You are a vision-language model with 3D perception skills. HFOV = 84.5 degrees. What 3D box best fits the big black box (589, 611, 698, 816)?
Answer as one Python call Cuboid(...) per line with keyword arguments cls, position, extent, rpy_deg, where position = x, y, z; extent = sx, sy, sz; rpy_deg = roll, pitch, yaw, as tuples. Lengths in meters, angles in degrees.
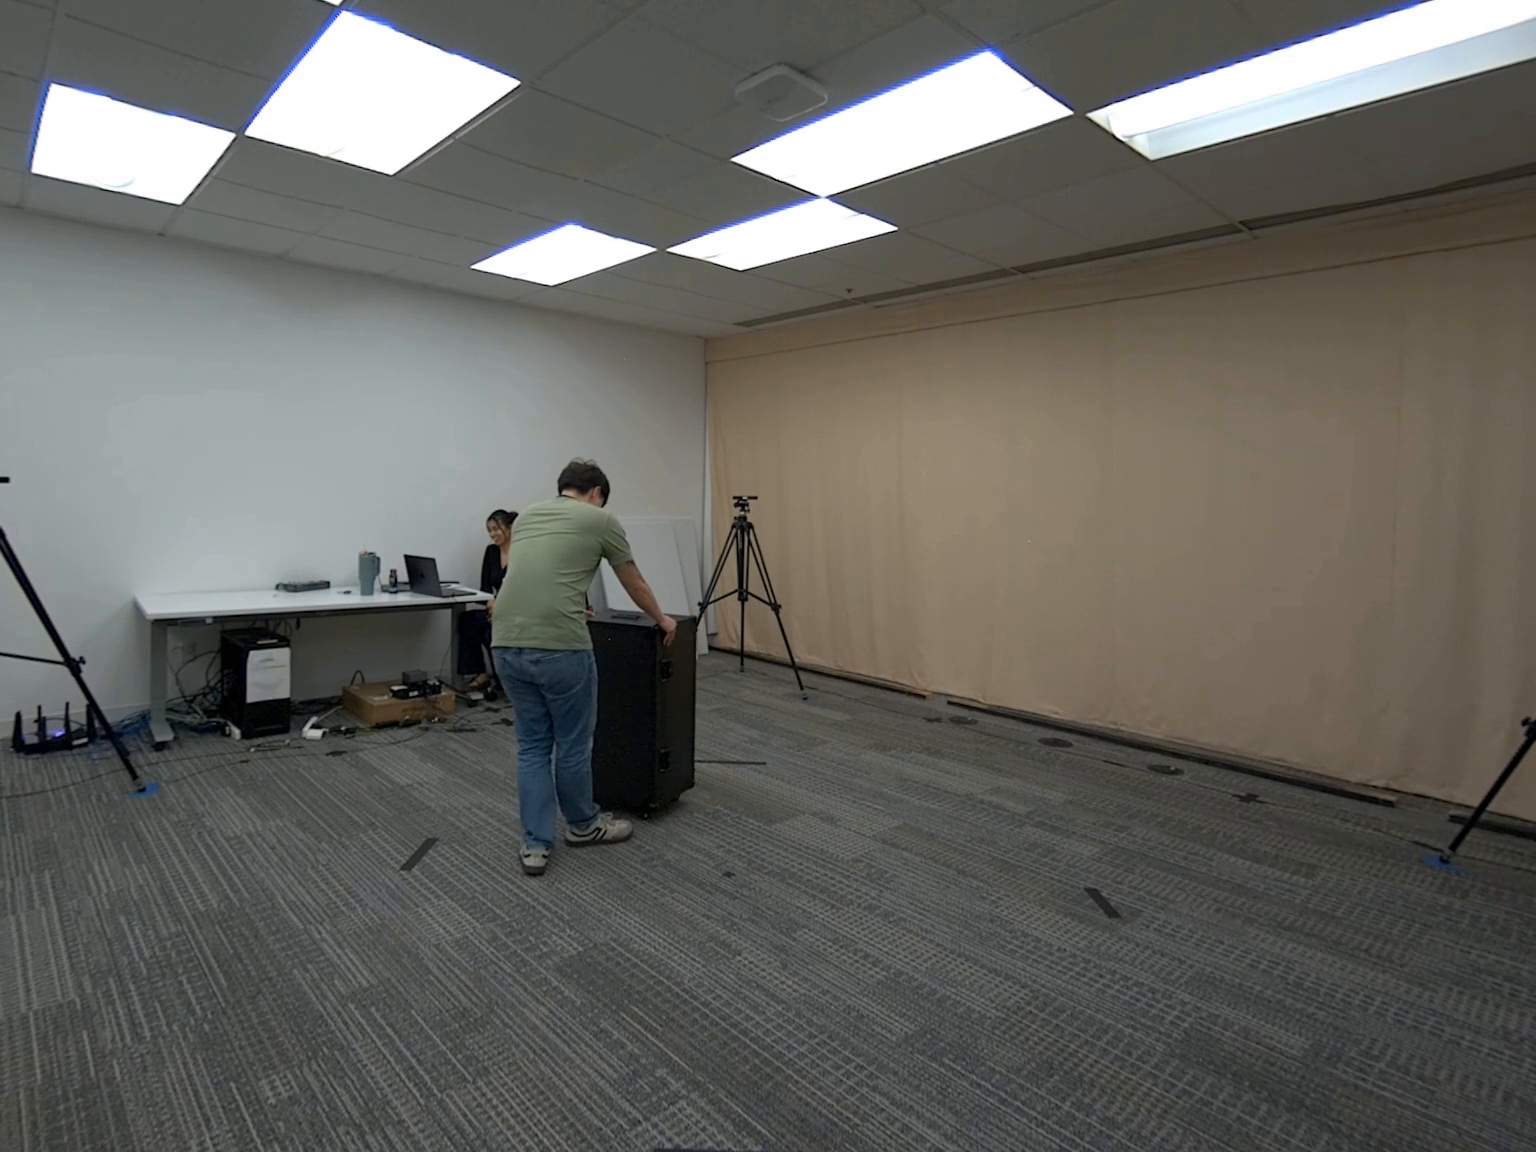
Cuboid(cls="big black box", position=(-0.623, 0.602, 3.777), extent=(0.531, 0.860, 0.389), rpy_deg=(3, 3, 24))
